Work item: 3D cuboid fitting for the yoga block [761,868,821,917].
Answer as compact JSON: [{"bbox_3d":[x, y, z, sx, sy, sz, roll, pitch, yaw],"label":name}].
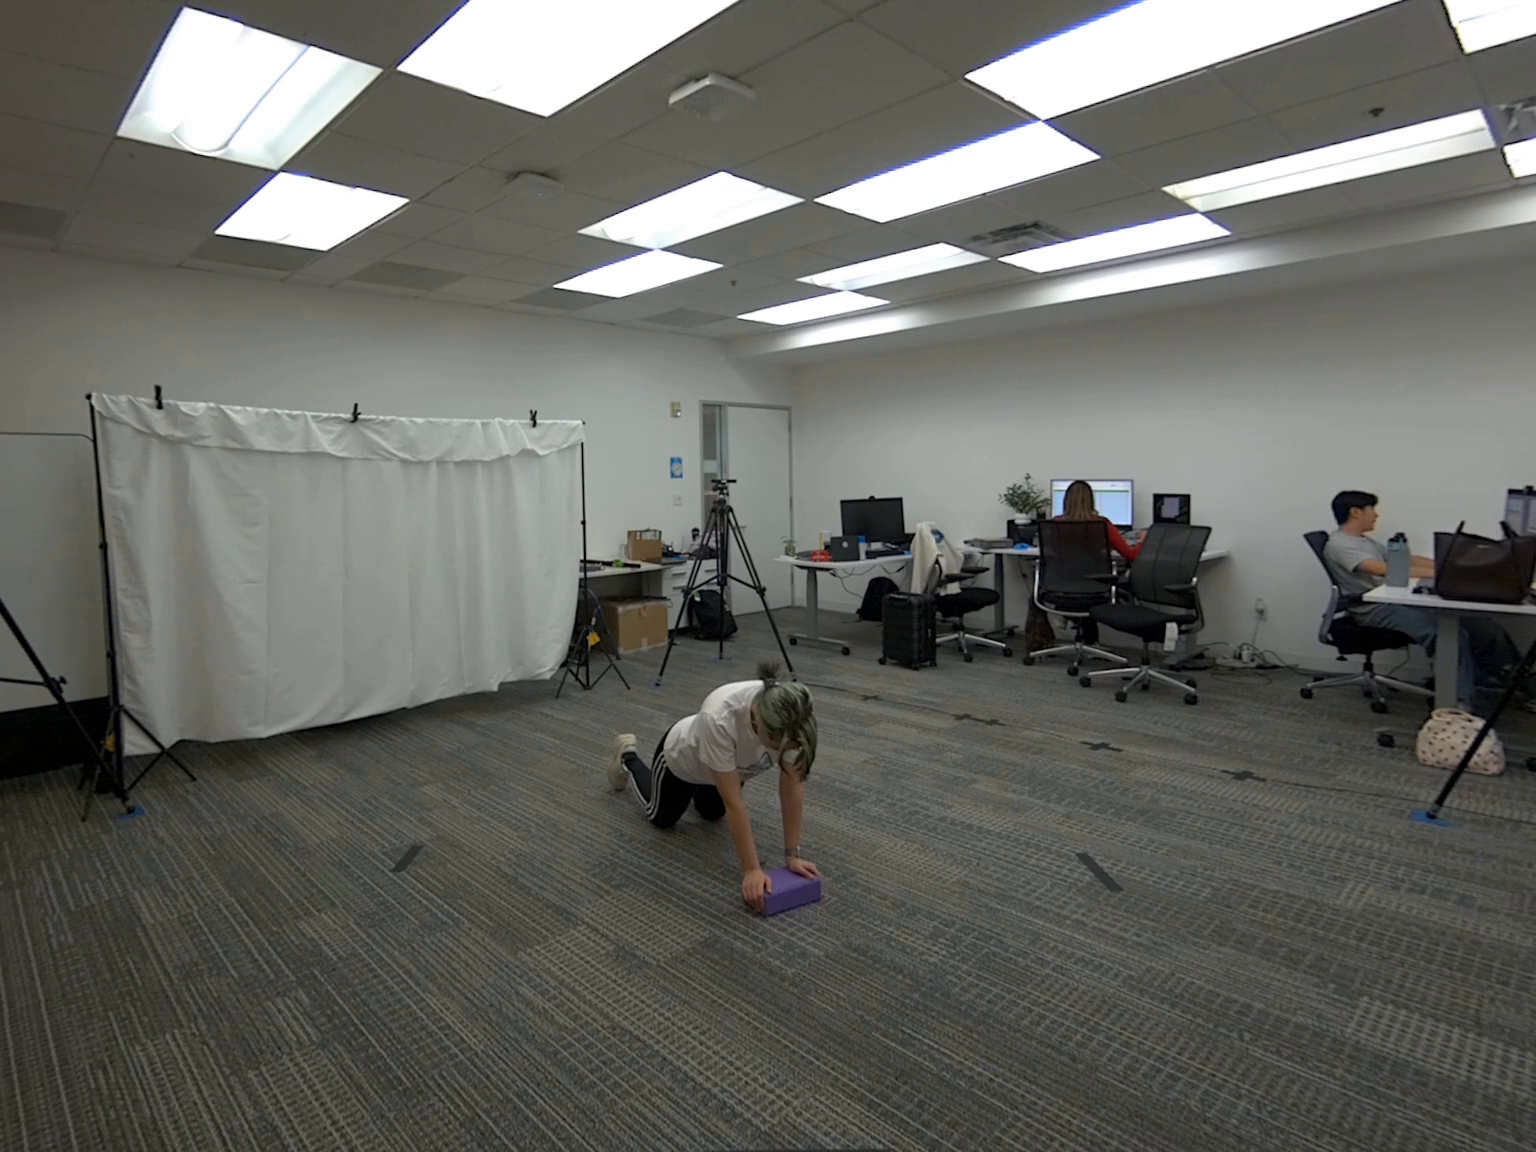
[{"bbox_3d":[0.050,1.038,2.839,0.224,0.076,0.153,-4,8,-32],"label":"yoga block"}]
